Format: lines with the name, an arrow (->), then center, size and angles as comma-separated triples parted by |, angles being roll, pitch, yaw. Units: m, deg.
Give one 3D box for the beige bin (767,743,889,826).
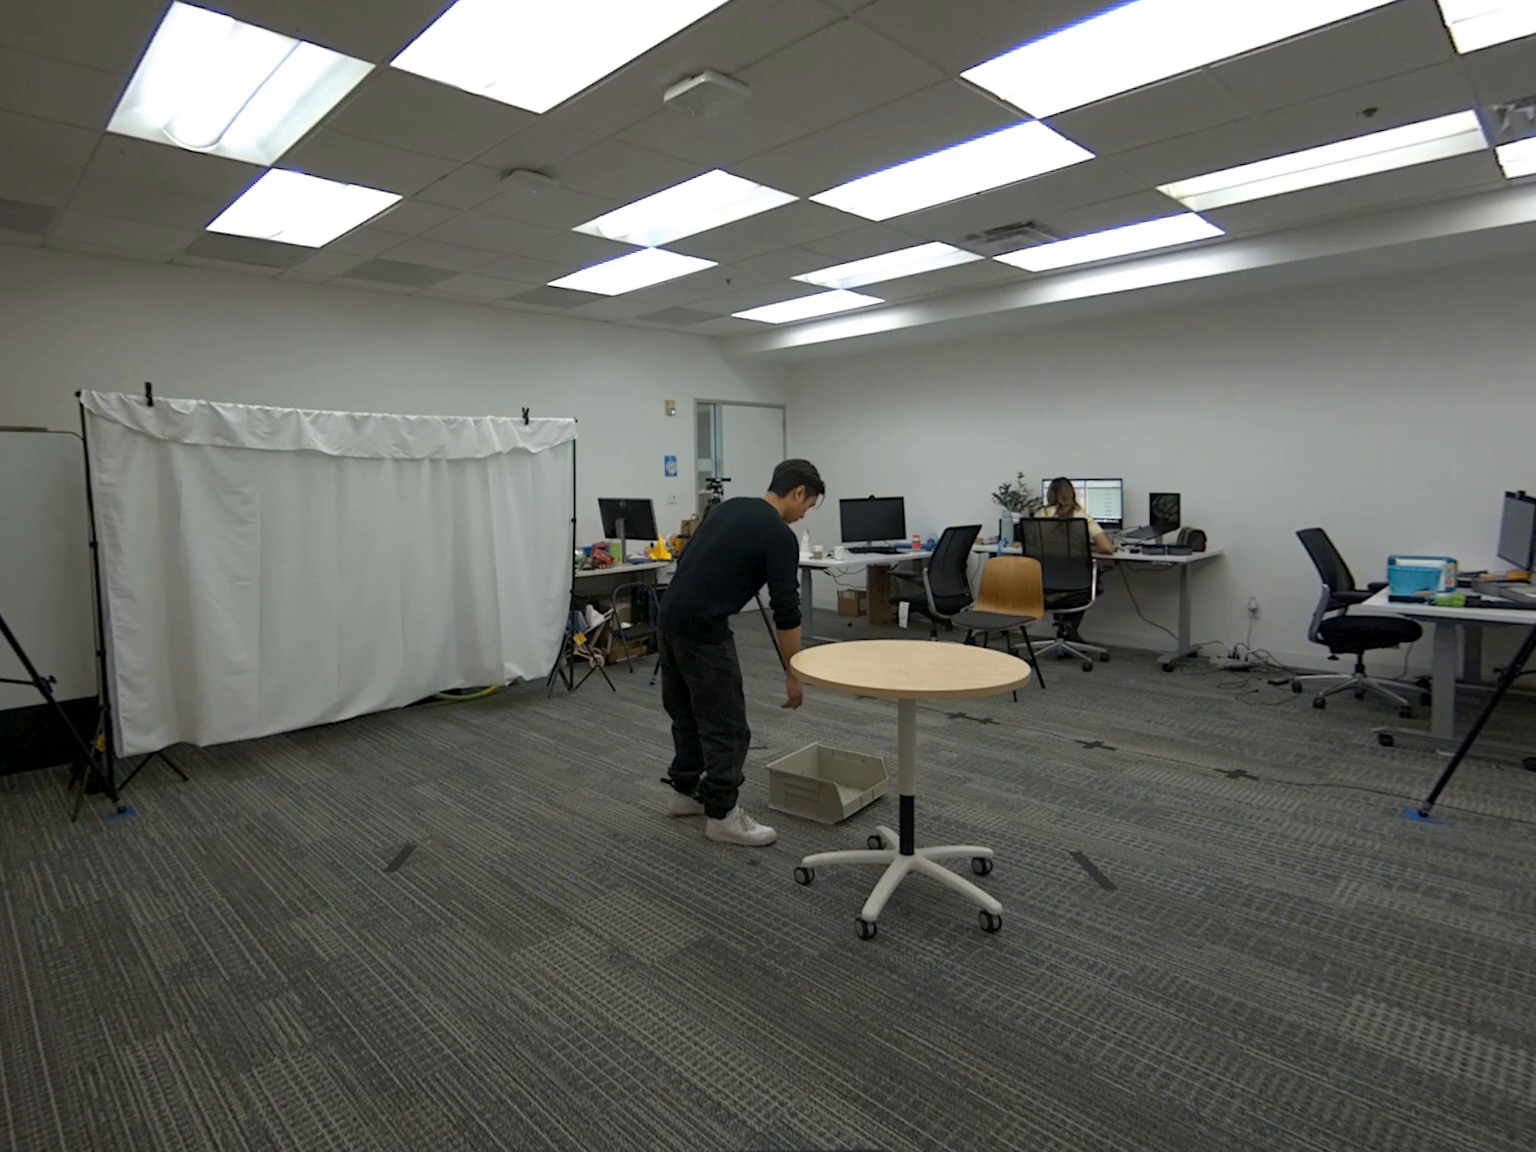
beige bin -> 0.262, 0.883, 3.670 | 0.388, 0.188, 0.412 | 2, 7, 36
